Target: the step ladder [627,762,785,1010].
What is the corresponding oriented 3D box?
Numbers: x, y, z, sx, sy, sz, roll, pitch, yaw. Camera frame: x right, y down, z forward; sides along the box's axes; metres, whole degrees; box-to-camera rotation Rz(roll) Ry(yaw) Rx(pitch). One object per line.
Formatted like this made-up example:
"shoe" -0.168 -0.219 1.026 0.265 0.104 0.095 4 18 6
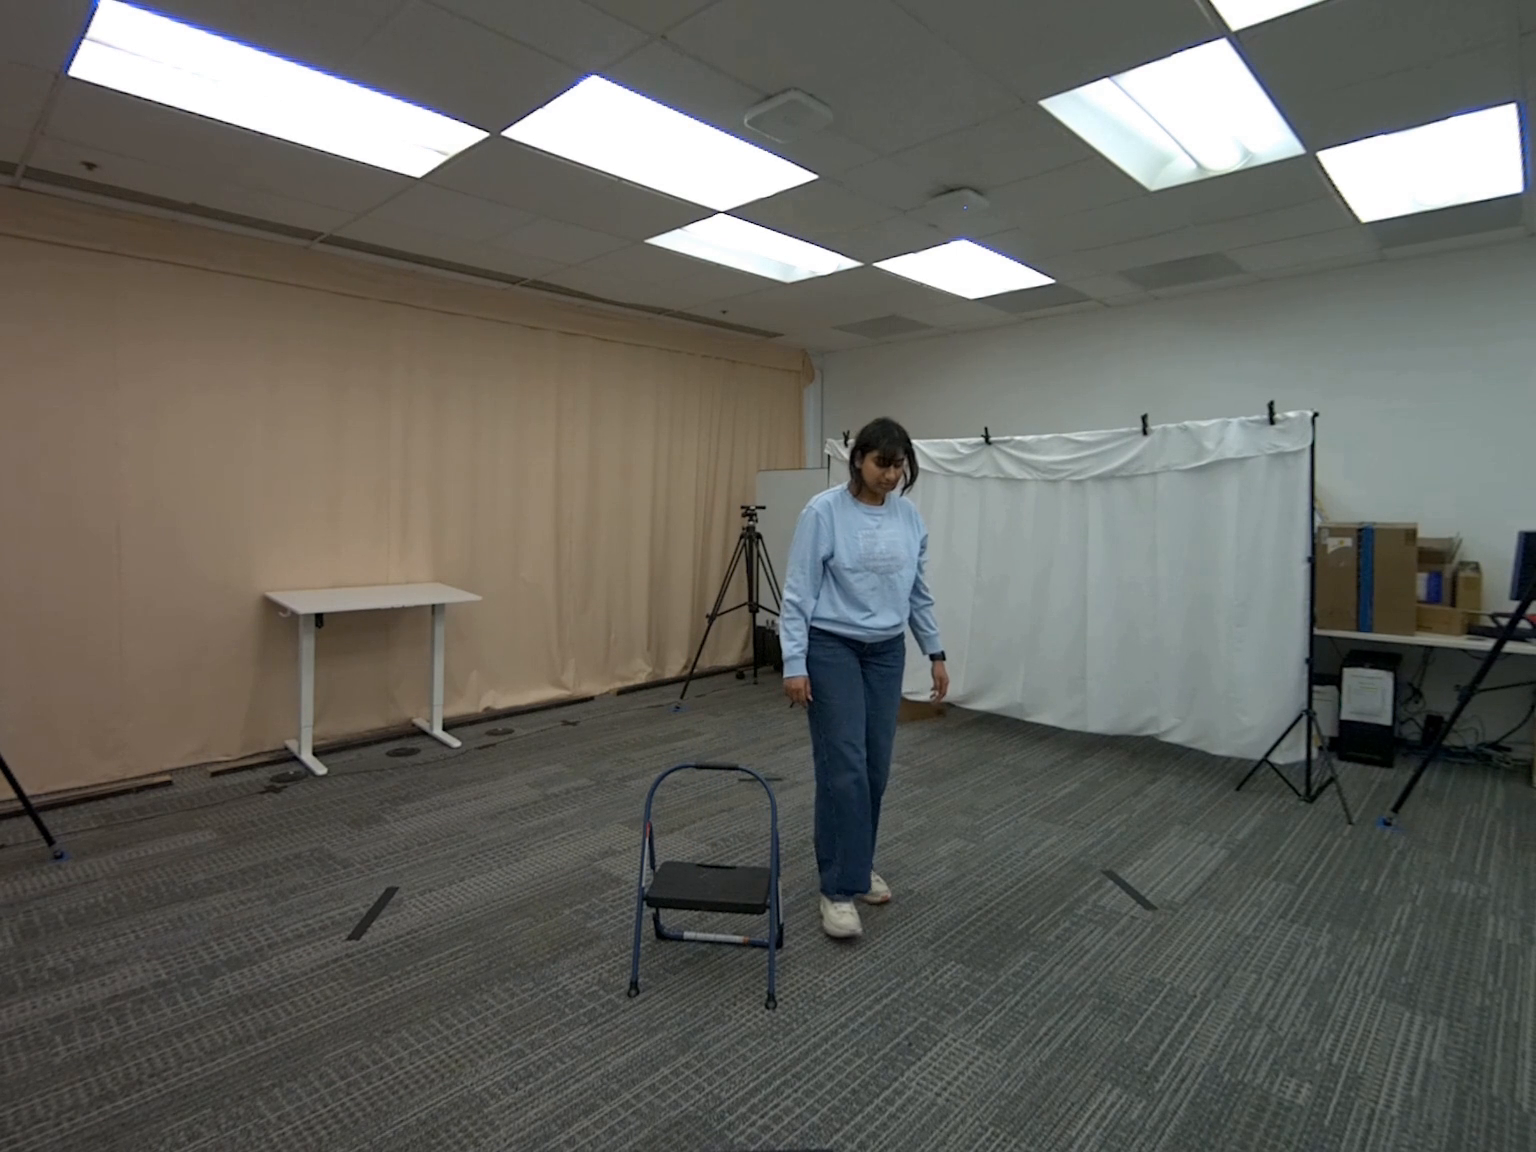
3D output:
"step ladder" -0.170 0.886 2.511 0.434 0.604 0.347 1 4 7
